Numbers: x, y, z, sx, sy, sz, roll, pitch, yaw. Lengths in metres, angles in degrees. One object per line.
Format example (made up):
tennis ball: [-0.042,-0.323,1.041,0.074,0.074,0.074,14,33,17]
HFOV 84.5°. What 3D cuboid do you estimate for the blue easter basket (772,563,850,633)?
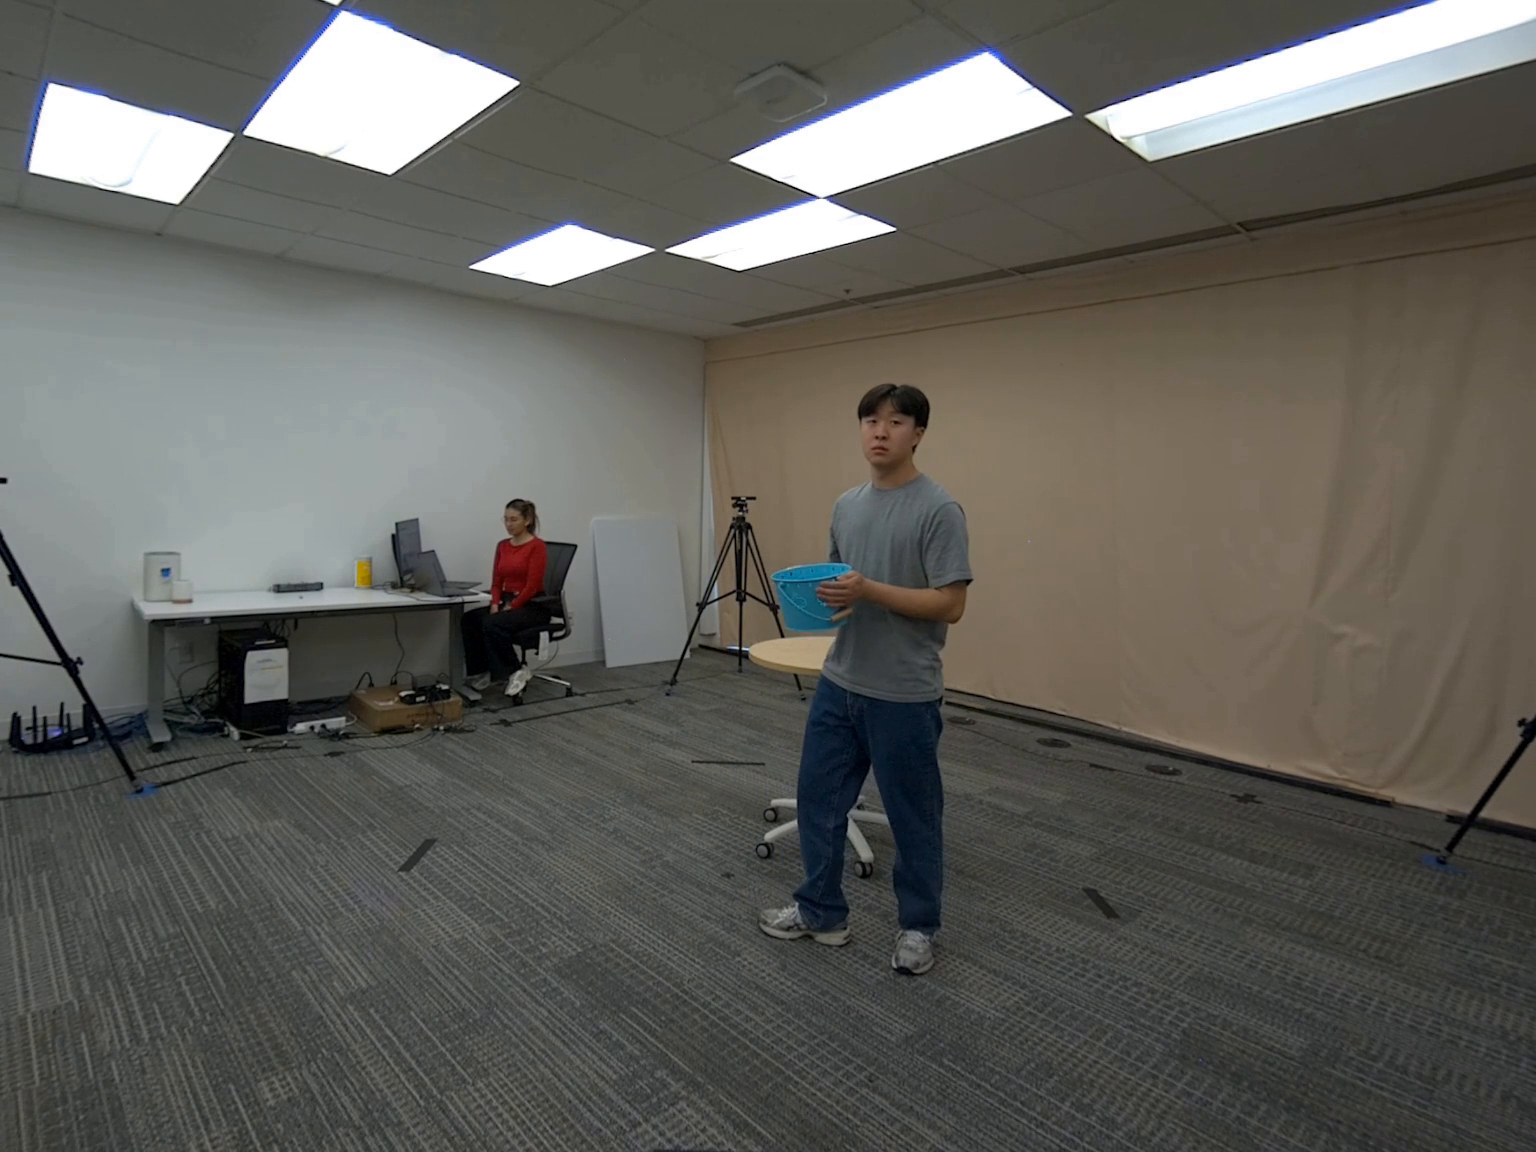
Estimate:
blue easter basket: [0.137,0.068,2.410,0.243,0.155,0.245,-5,9,-1]
